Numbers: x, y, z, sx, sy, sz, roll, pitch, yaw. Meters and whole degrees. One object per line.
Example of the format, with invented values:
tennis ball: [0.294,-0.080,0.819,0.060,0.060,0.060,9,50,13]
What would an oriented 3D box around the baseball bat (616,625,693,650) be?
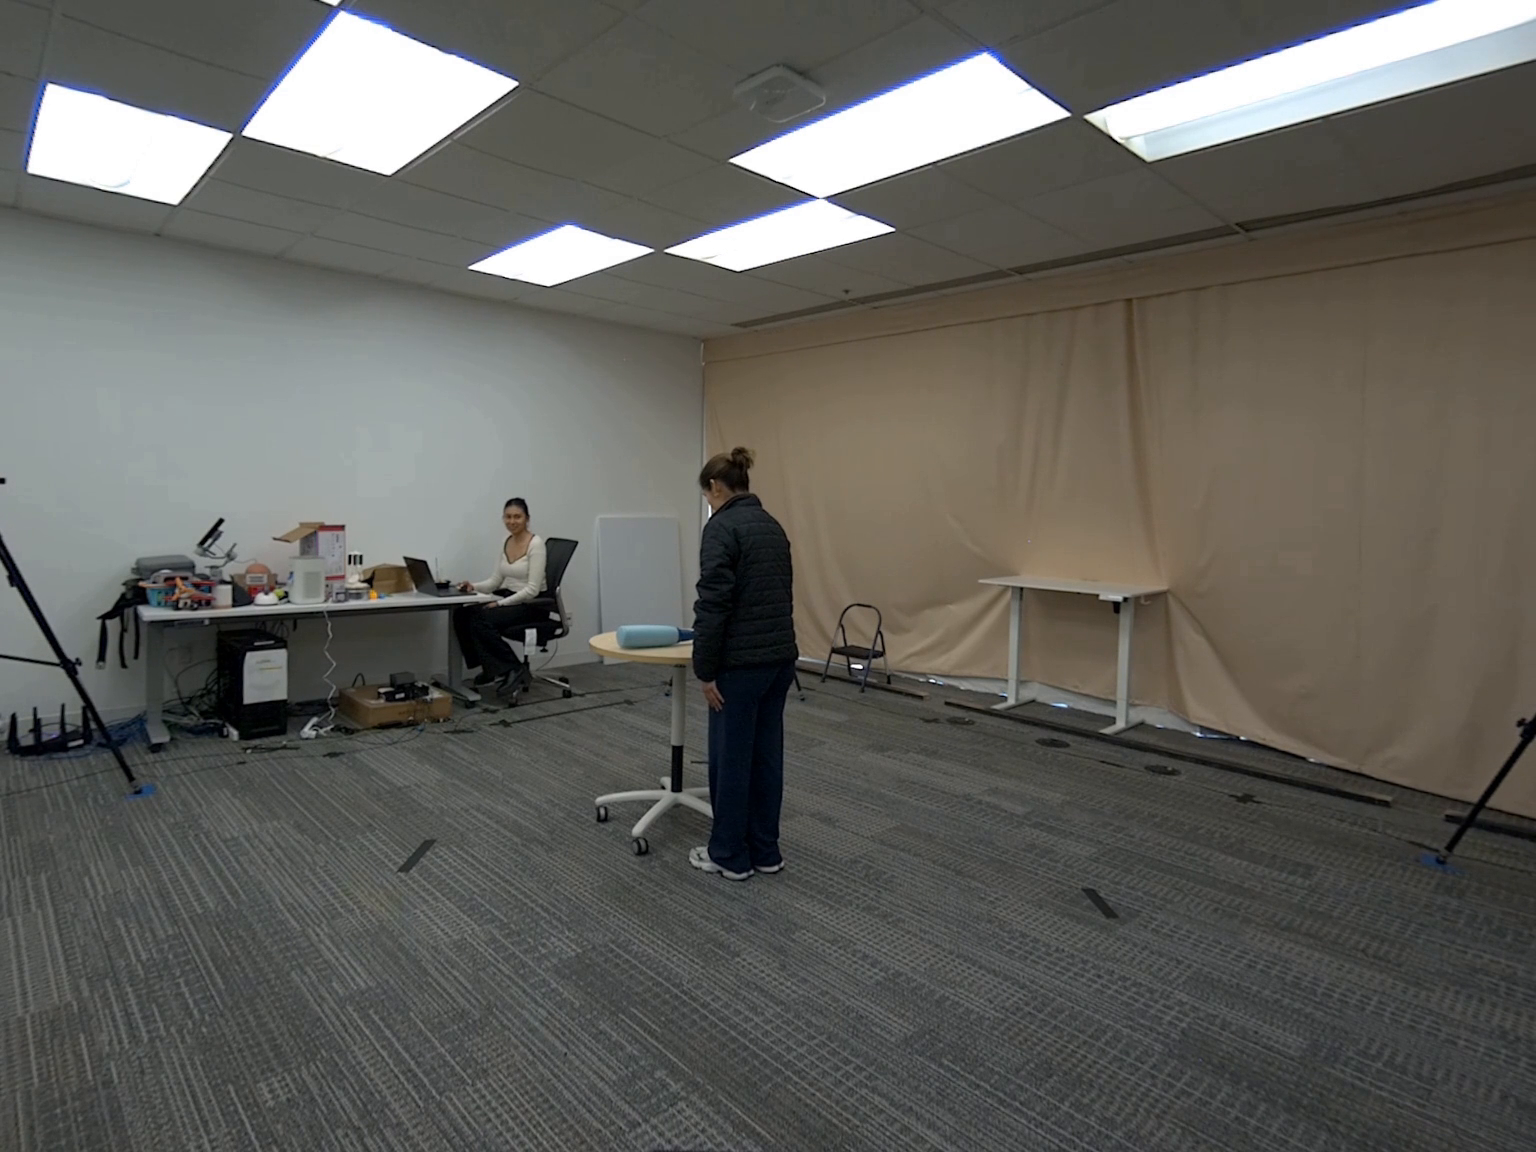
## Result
baseball bat: [-0.372,0.250,3.450,0.531,0.089,0.091,3,3,-33]
